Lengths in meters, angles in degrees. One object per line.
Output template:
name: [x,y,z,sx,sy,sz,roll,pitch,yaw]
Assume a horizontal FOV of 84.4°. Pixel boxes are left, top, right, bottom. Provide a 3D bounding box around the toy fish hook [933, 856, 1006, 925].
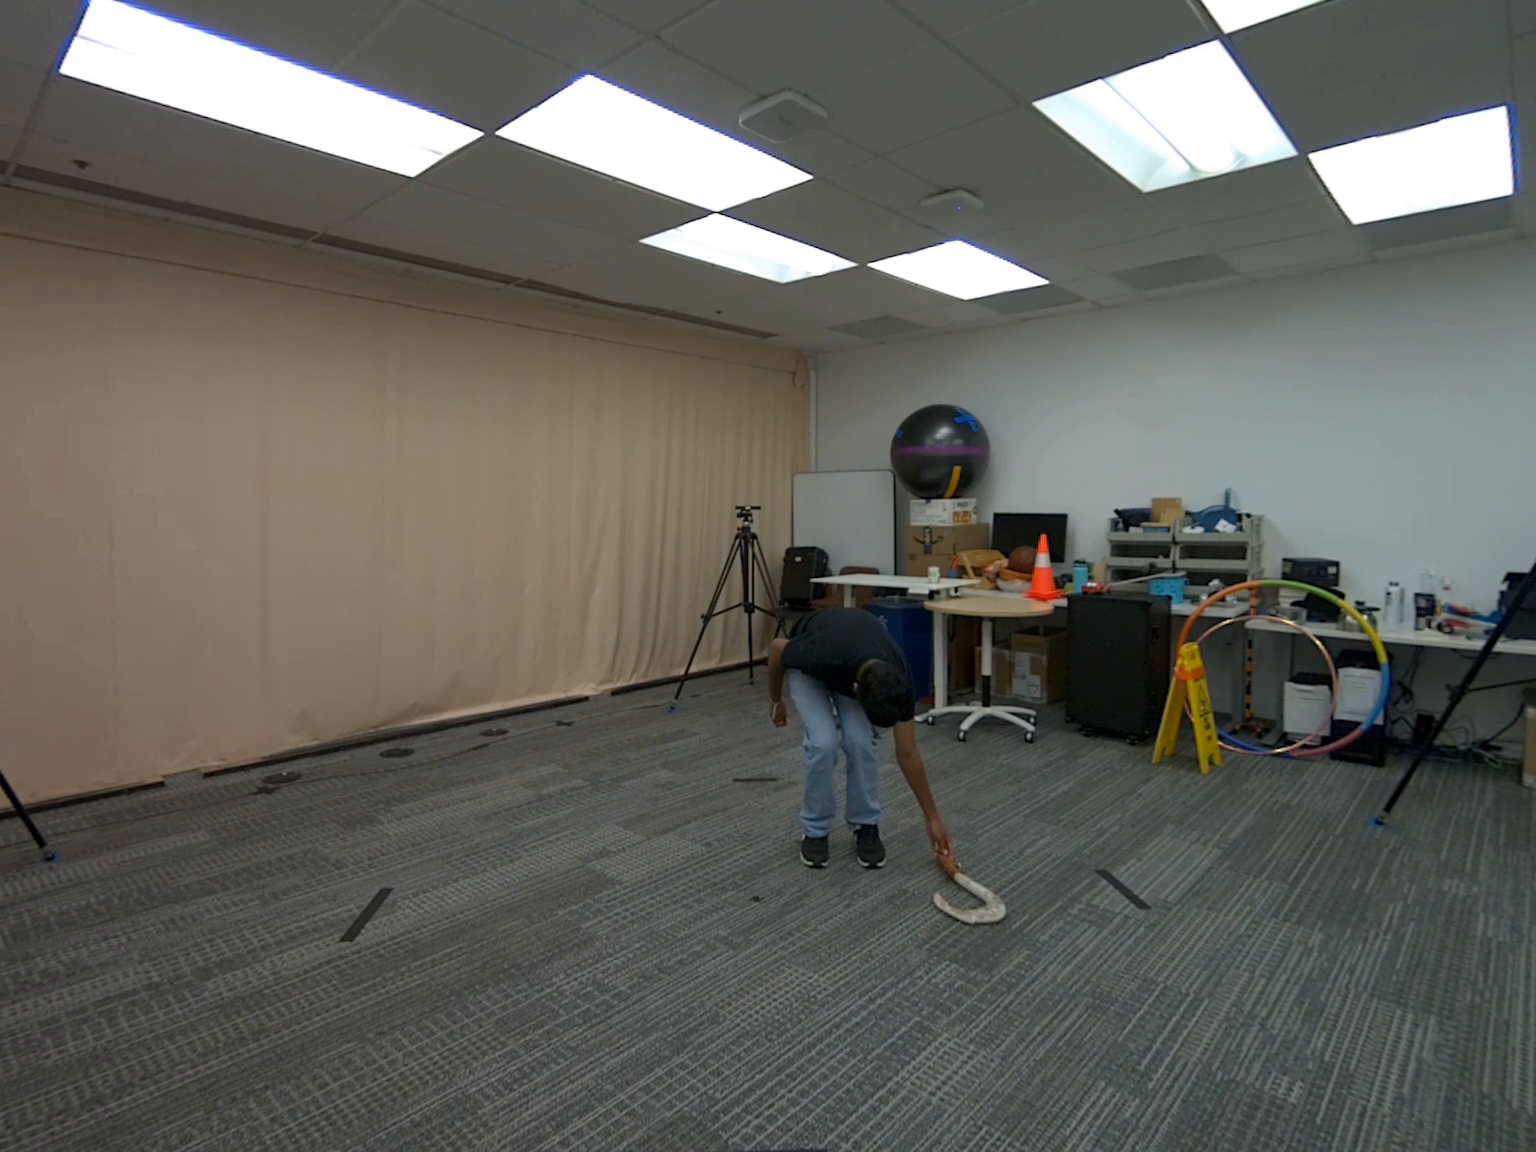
toy fish hook: [0.667,1.107,3.032,0.222,0.048,0.513,1,6,-11]
